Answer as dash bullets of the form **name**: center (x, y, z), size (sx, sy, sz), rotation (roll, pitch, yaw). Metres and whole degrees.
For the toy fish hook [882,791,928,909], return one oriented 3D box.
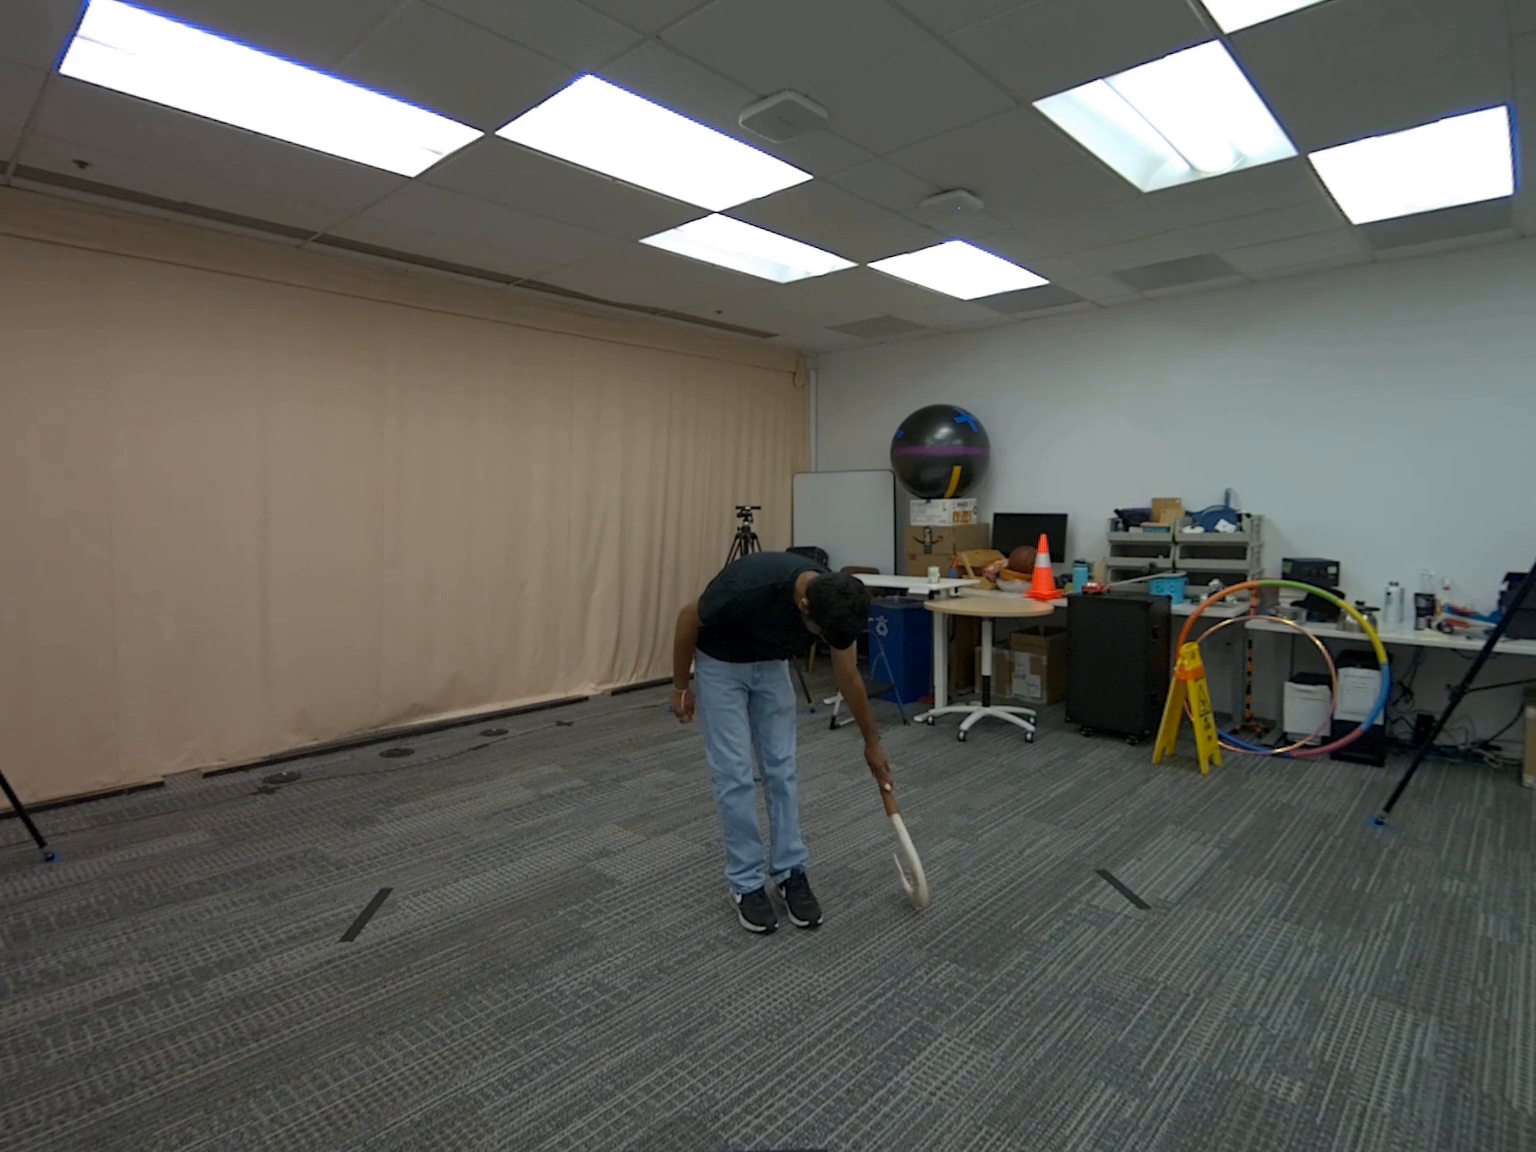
- **toy fish hook**: center (0.457, 0.909, 2.973), size (0.048, 0.517, 0.223), rotation (-9, -26, -15)
